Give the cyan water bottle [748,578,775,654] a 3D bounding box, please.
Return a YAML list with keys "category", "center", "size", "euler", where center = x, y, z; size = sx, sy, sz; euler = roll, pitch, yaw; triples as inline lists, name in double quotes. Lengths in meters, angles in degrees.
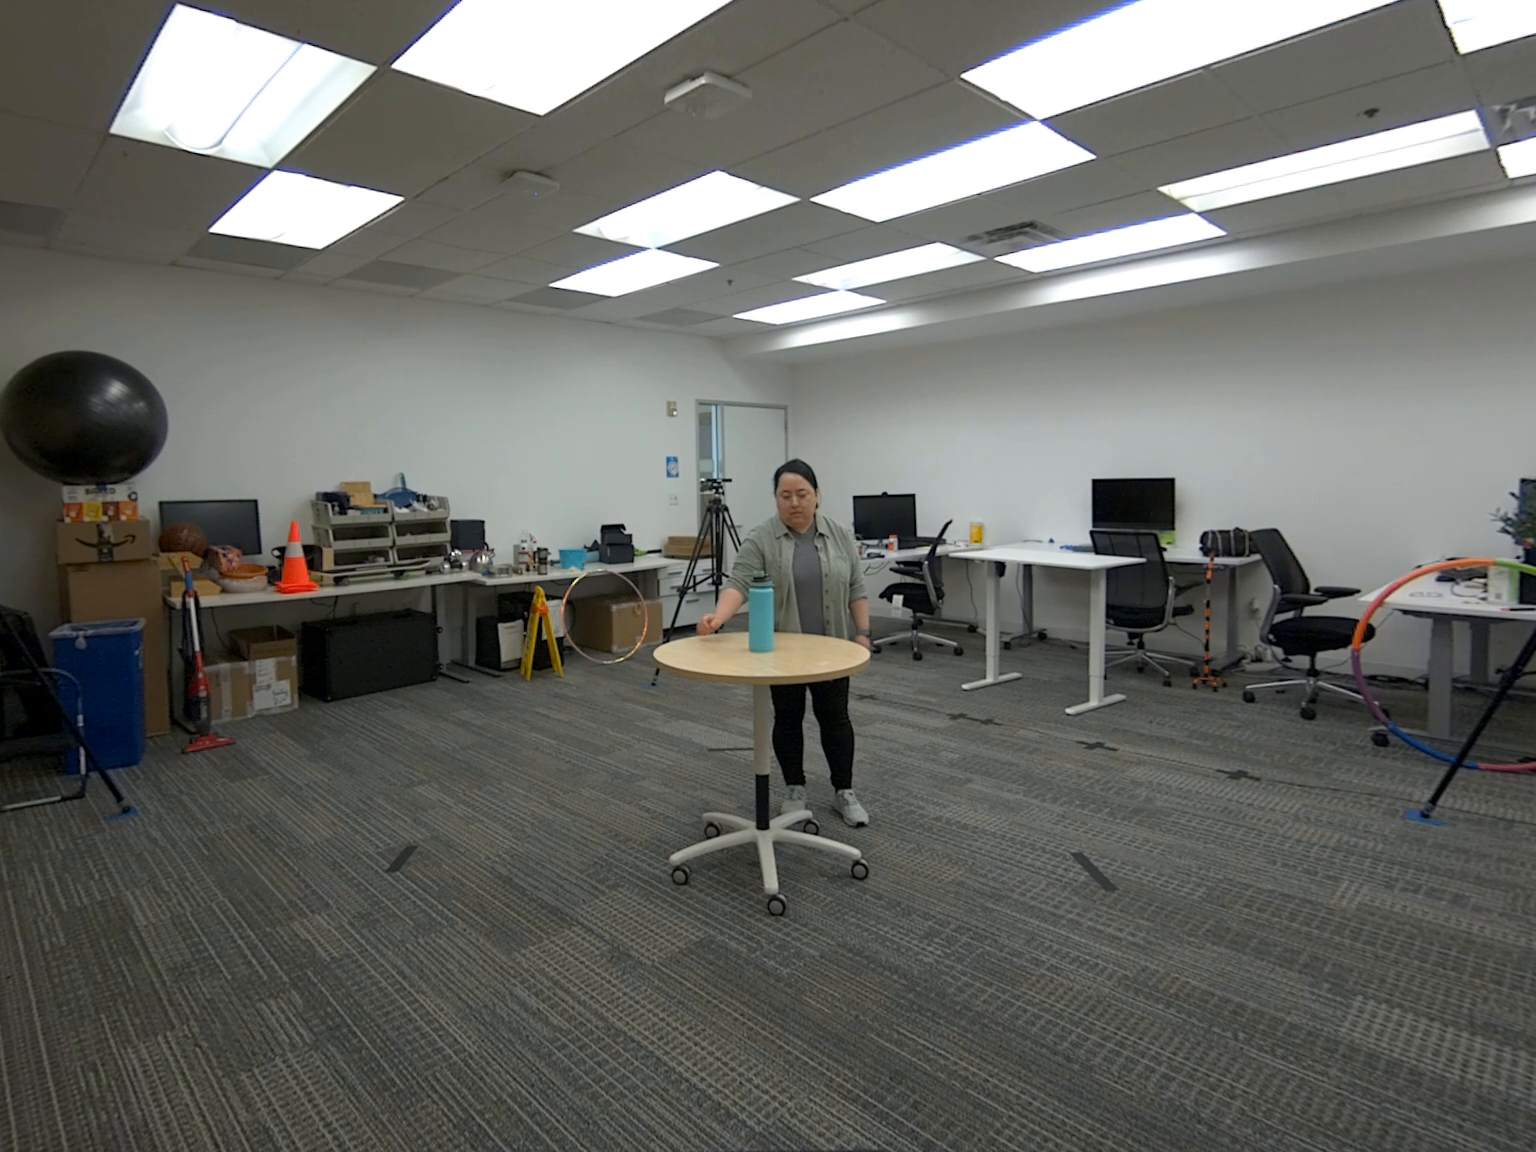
- category: "cyan water bottle"
  center: [-0.019, 0.131, 3.054]
  size: [0.092, 0.283, 0.092]
  euler: [0, 3, -2]
